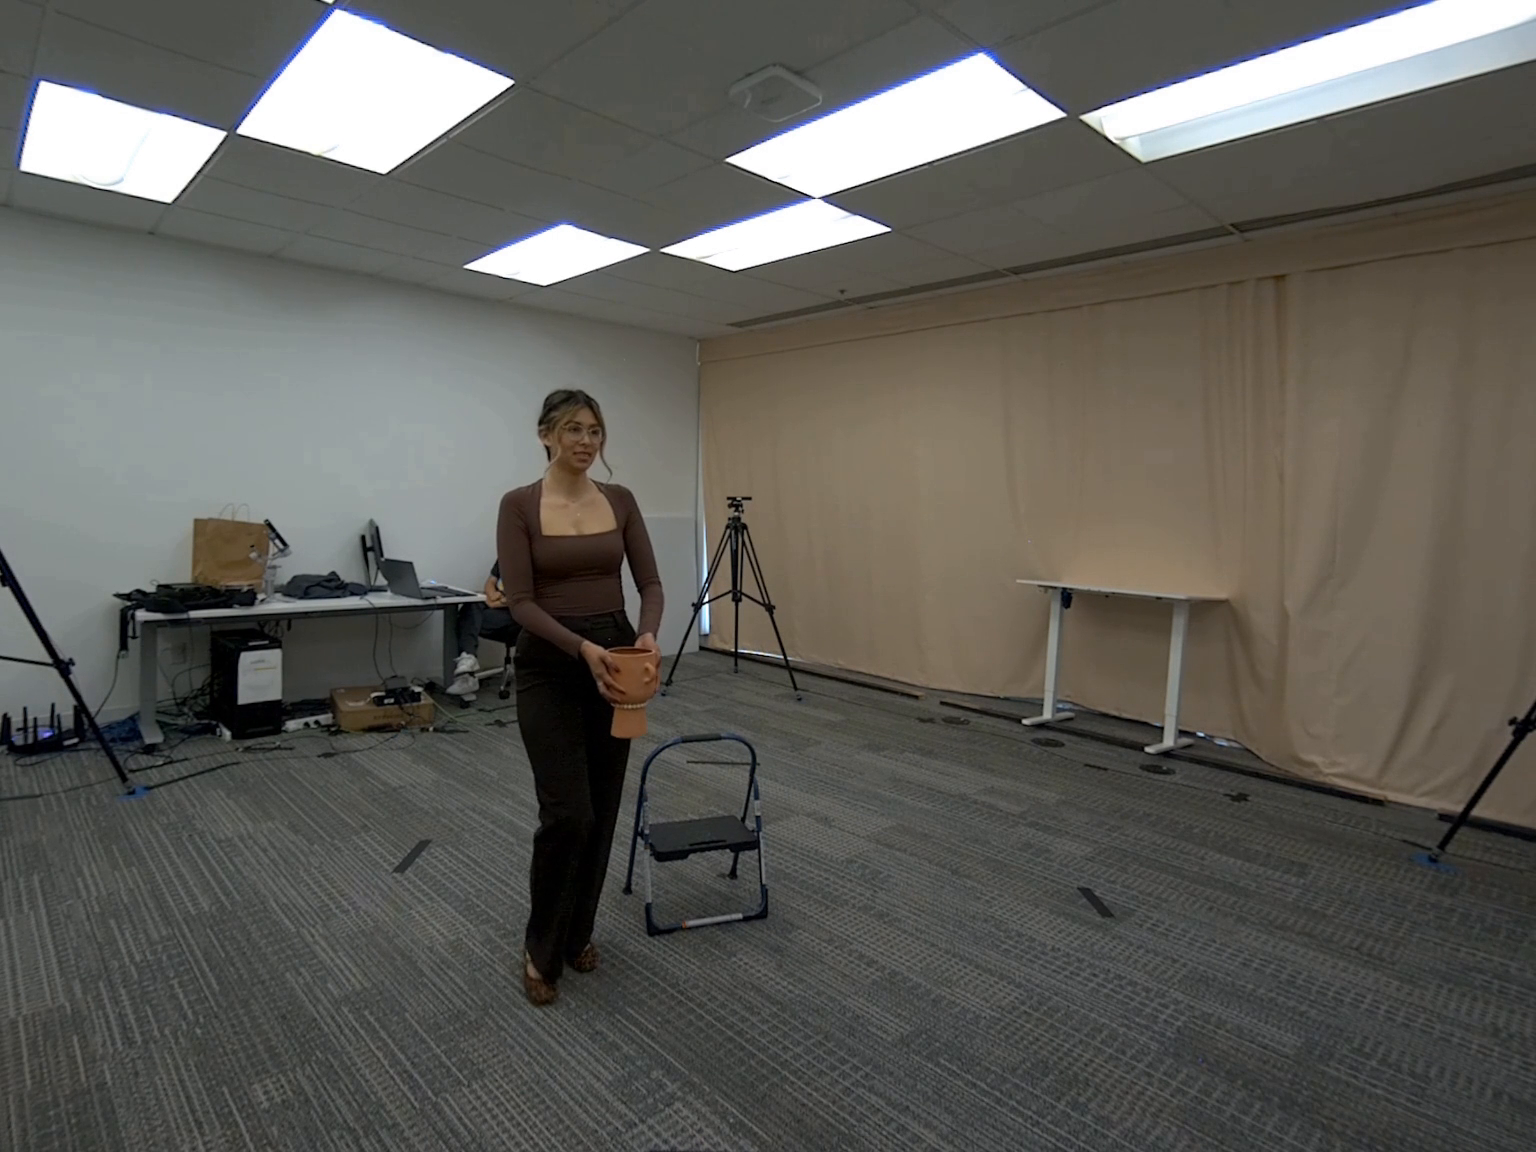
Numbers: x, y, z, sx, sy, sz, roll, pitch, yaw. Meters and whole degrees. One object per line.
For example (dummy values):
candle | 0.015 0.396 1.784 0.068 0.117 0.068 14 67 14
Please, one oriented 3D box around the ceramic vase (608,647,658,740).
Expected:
ceramic vase | -0.383 0.311 2.209 0.134 0.219 0.160 1 4 -4
